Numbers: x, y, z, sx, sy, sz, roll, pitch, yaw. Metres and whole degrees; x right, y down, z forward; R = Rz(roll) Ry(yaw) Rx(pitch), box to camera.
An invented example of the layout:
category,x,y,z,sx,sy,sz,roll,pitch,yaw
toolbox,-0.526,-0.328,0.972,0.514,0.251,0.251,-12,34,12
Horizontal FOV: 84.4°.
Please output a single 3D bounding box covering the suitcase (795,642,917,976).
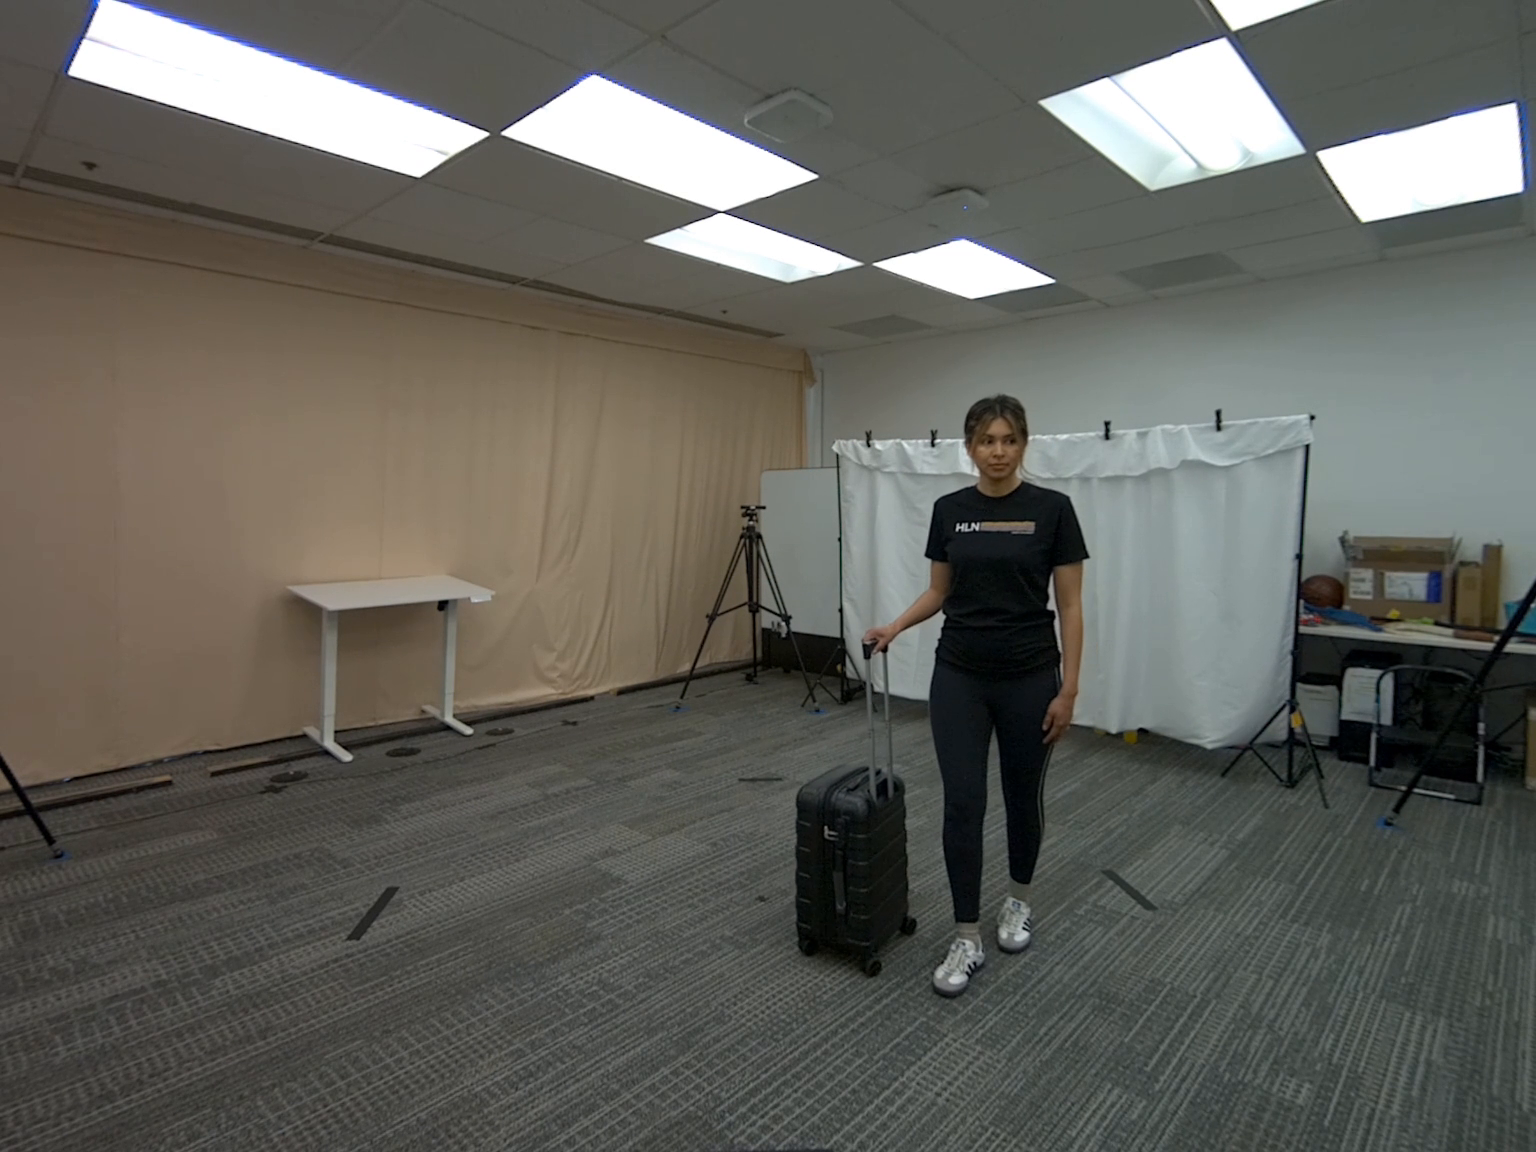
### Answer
category,x,y,z,sx,sy,sz,roll,pitch,yaw
suitcase,0.259,0.696,2.652,0.265,0.976,0.373,-1,4,36
